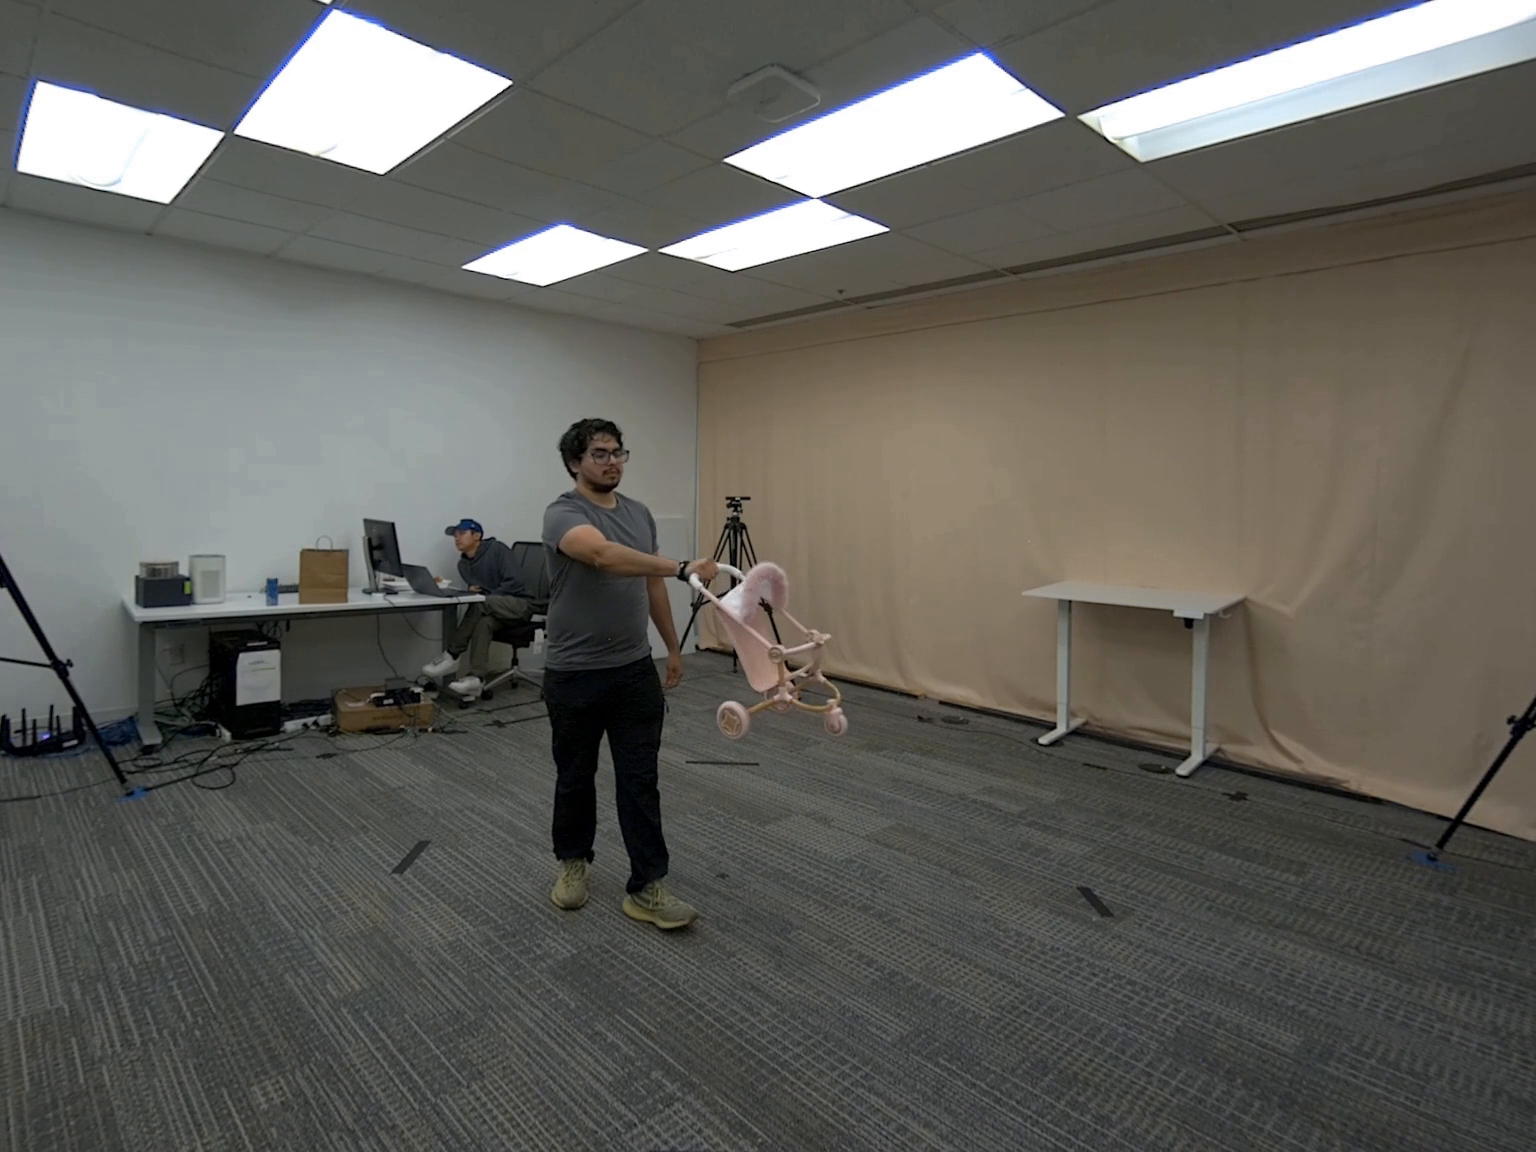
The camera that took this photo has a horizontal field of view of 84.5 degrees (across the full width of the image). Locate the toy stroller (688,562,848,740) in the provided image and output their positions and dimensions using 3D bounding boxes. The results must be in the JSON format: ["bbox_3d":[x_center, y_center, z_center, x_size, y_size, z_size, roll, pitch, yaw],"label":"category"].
[{"bbox_3d":[0.012,0.205,2.334,0.347,0.536,0.276,-16,-3,40],"label":"toy stroller"}]
